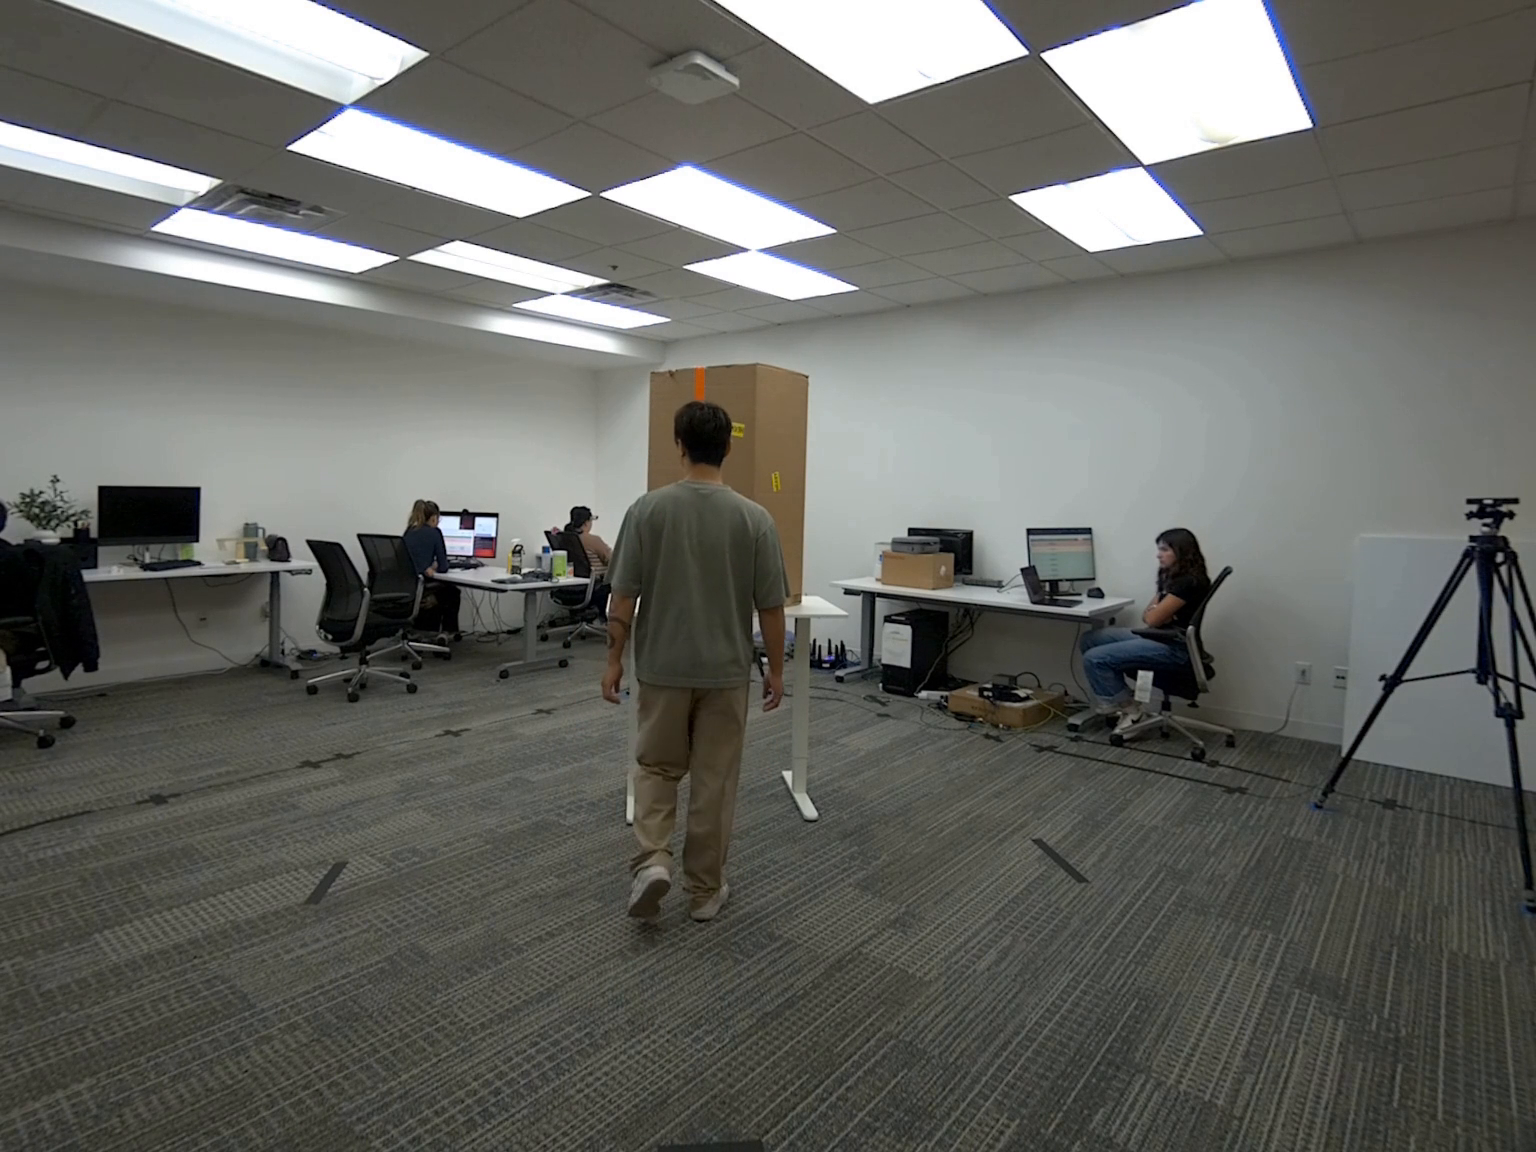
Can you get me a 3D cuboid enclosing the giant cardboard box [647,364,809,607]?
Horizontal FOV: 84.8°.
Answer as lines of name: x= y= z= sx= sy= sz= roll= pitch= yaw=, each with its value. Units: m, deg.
giant cardboard box: x=-0.197 y=-0.393 z=3.786 sx=0.596 sy=1.022 sz=0.414 roll=4 pitch=4 yaw=34
